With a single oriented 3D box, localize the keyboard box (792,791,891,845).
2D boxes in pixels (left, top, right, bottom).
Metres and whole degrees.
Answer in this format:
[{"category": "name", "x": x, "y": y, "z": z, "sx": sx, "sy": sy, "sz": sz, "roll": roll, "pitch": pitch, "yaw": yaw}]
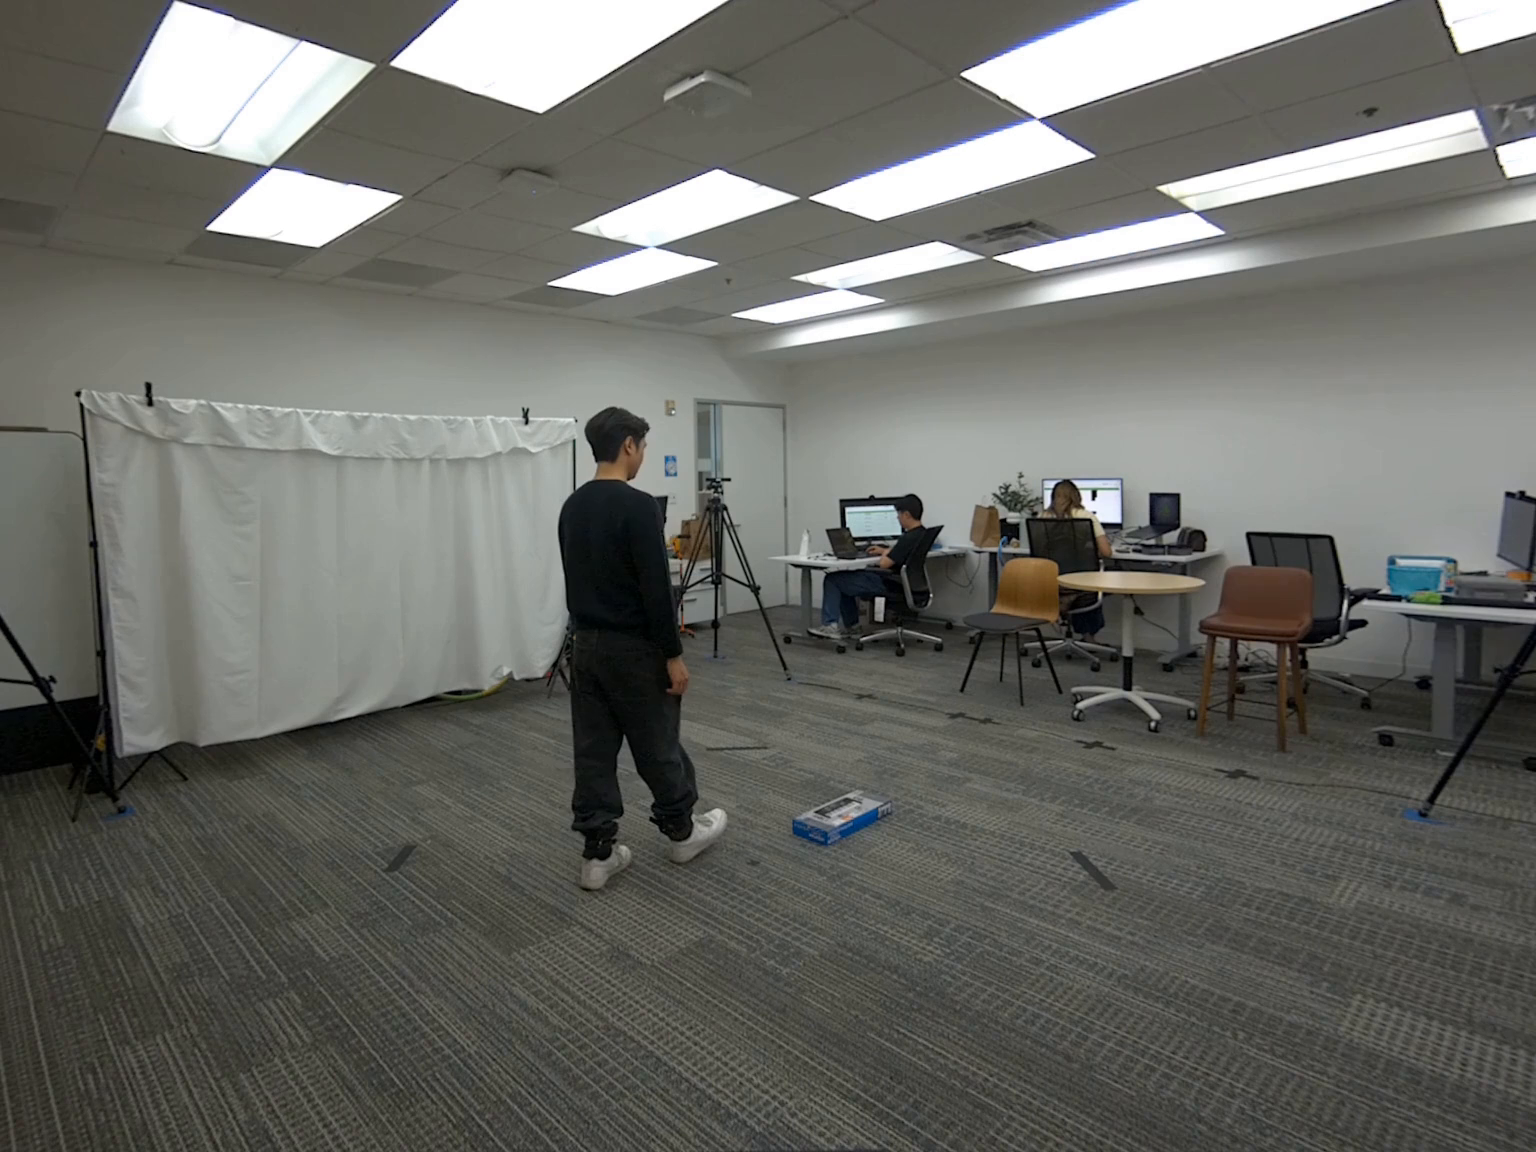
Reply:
[{"category": "keyboard box", "x": 0.308, "y": 0.967, "z": 3.444, "sx": 0.181, "sy": 0.059, "sz": 0.425, "roll": 6, "pitch": 9, "yaw": 43}]
